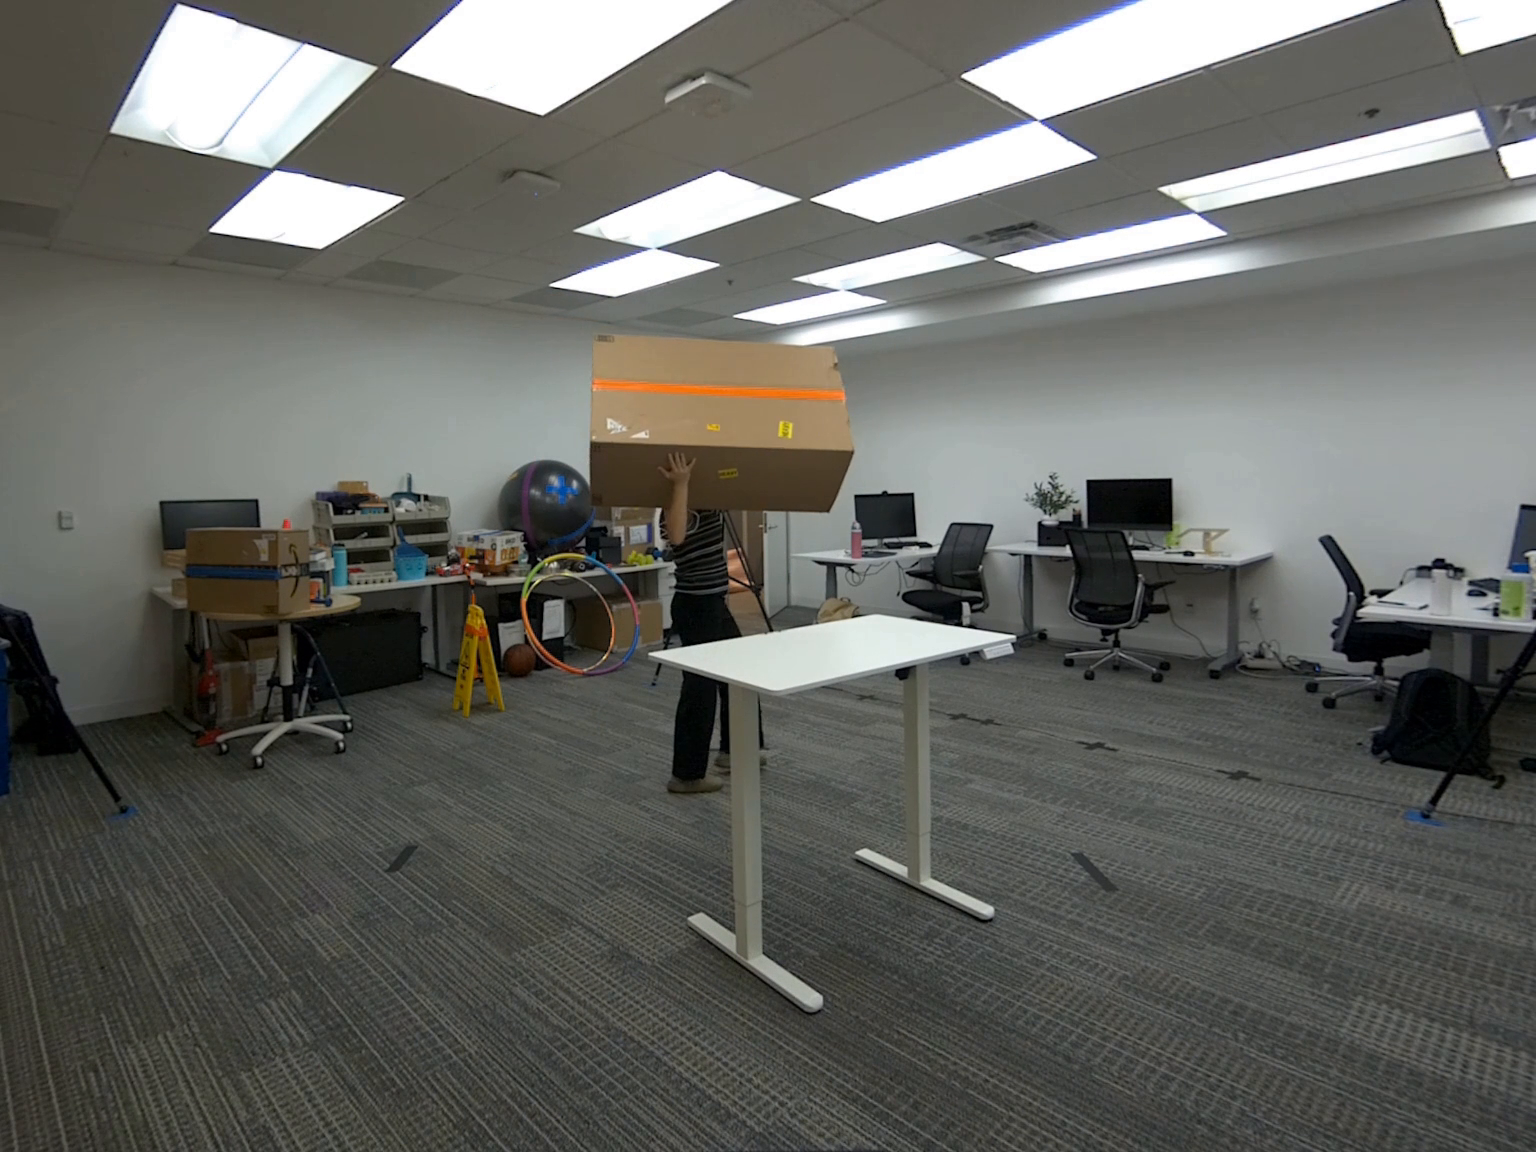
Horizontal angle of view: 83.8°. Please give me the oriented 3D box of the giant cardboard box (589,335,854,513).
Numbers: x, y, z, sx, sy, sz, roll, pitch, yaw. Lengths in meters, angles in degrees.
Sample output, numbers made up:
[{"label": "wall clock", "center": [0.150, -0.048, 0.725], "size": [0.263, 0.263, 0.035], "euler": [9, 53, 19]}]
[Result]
[{"label": "giant cardboard box", "center": [-0.226, -0.629, 3.572], "size": [1.017, 0.593, 0.418], "euler": [1, -32, -8]}]
